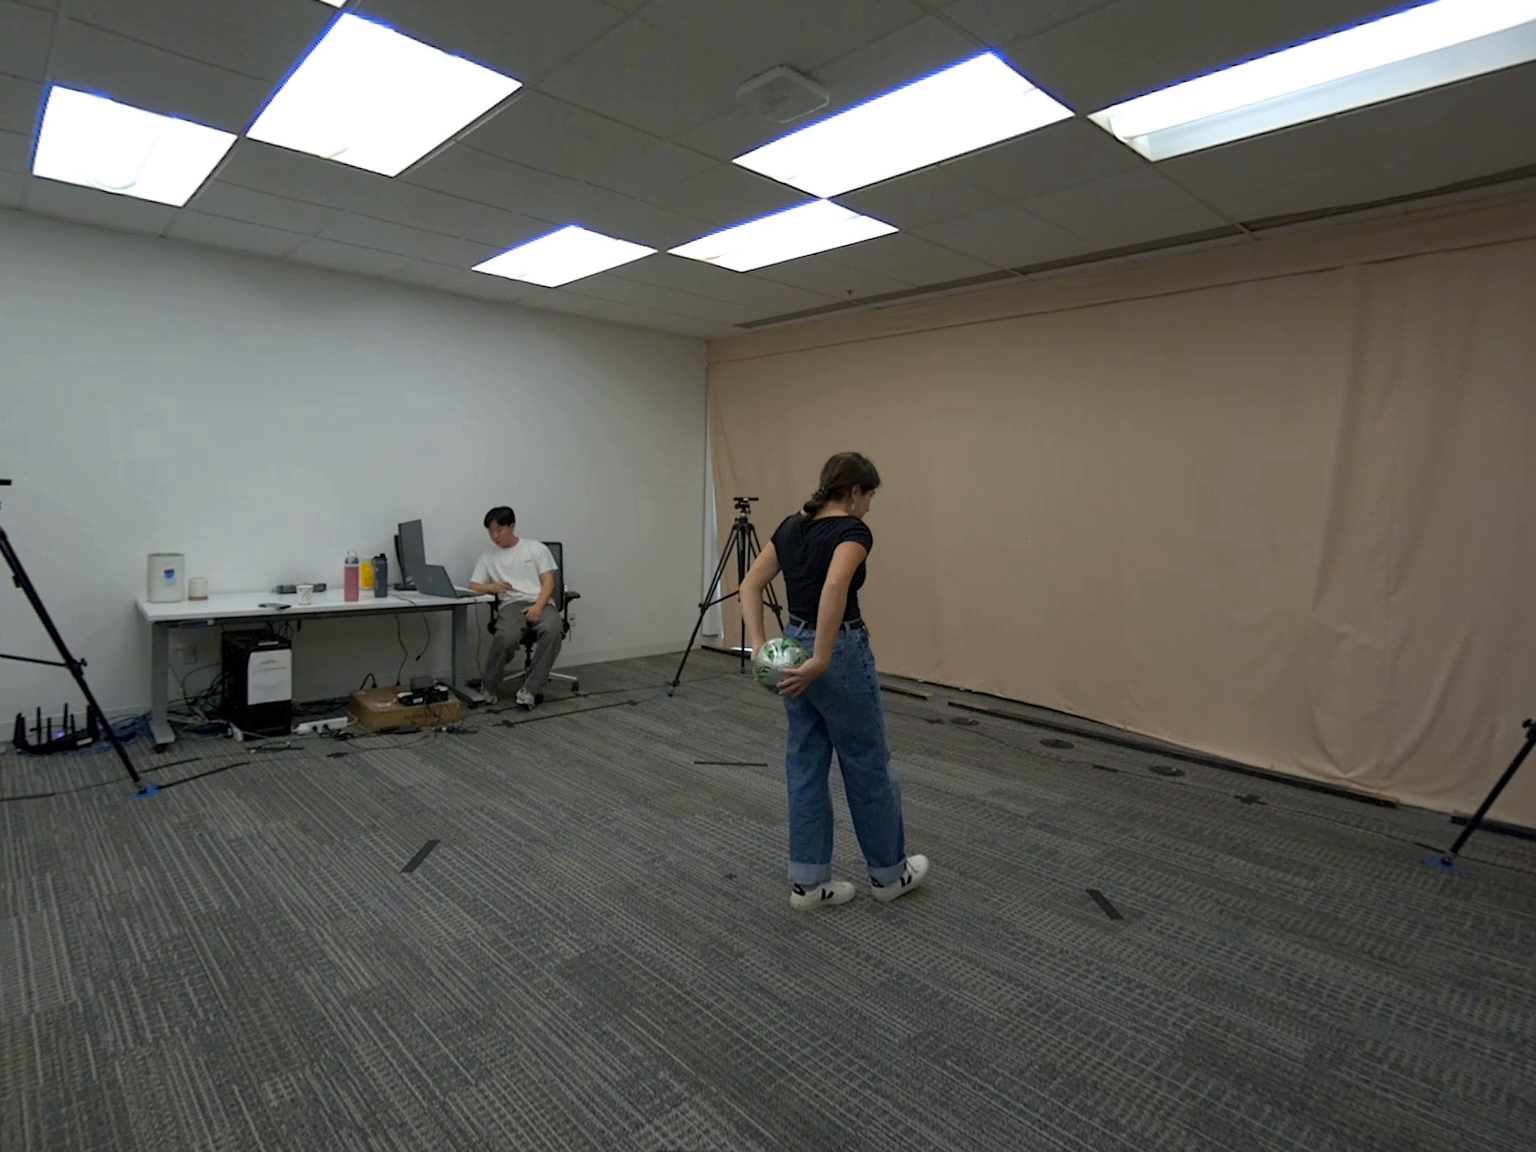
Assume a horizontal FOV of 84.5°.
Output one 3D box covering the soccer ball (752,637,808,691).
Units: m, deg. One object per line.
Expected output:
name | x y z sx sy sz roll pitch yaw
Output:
soccer ball | 0.043 0.287 2.674 0.187 0.187 0.188 1 4 -1
